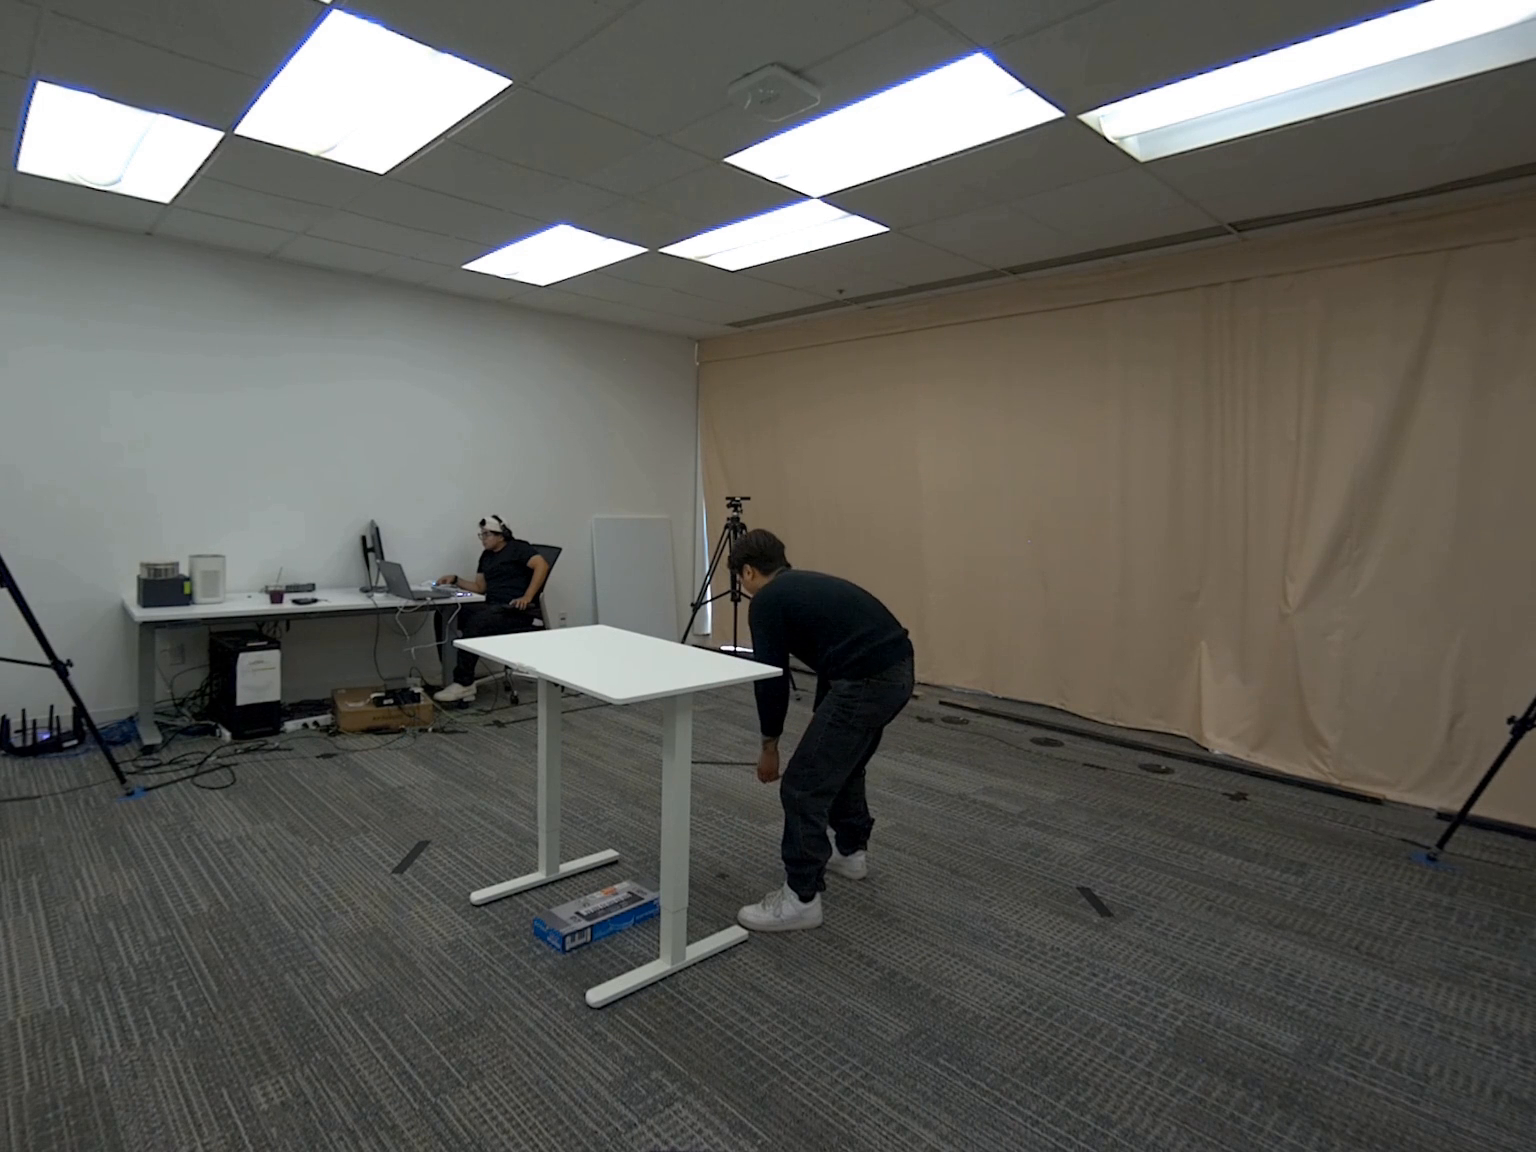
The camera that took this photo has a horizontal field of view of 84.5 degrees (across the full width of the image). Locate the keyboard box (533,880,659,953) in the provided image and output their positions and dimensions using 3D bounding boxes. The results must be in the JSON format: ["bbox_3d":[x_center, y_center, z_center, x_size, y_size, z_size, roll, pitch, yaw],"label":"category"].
[{"bbox_3d":[-0.540,1.101,2.756,0.180,0.059,0.427,6,7,44],"label":"keyboard box"}]
